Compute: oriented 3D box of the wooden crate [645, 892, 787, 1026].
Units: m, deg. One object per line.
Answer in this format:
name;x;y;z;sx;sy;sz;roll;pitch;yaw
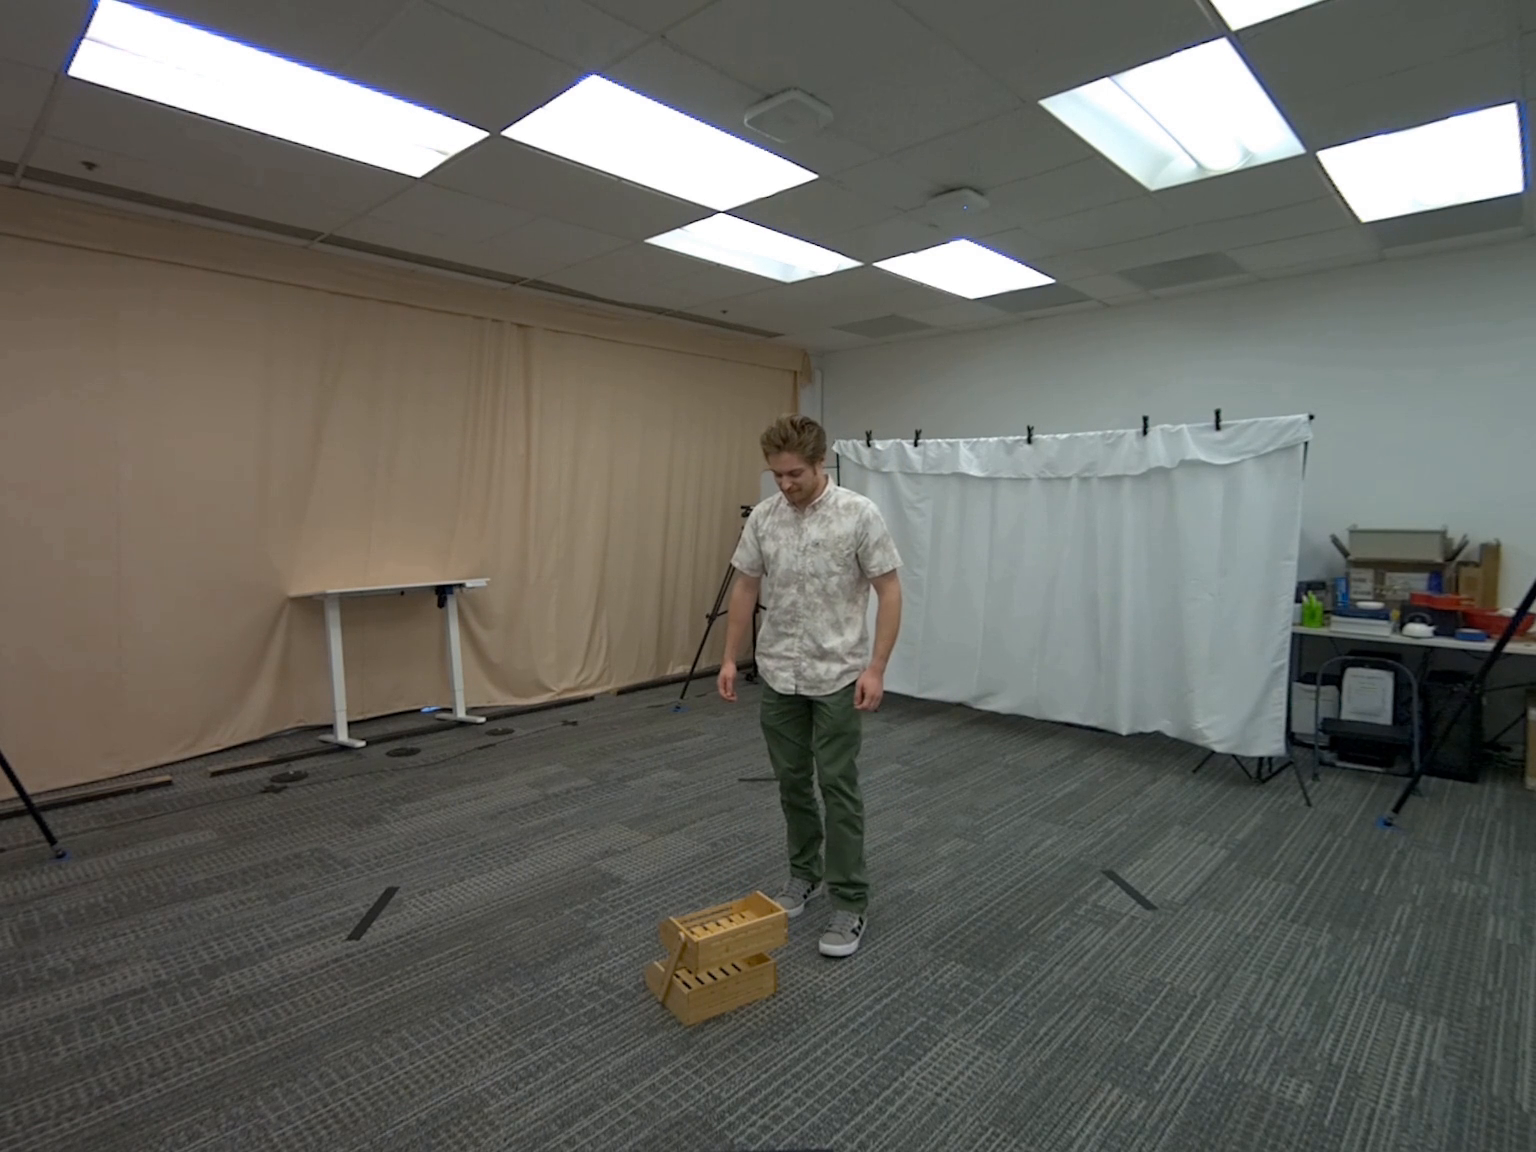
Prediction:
wooden crate;-0.153;1.061;2.400;0.315;0.273;0.311;-2;5;-34
